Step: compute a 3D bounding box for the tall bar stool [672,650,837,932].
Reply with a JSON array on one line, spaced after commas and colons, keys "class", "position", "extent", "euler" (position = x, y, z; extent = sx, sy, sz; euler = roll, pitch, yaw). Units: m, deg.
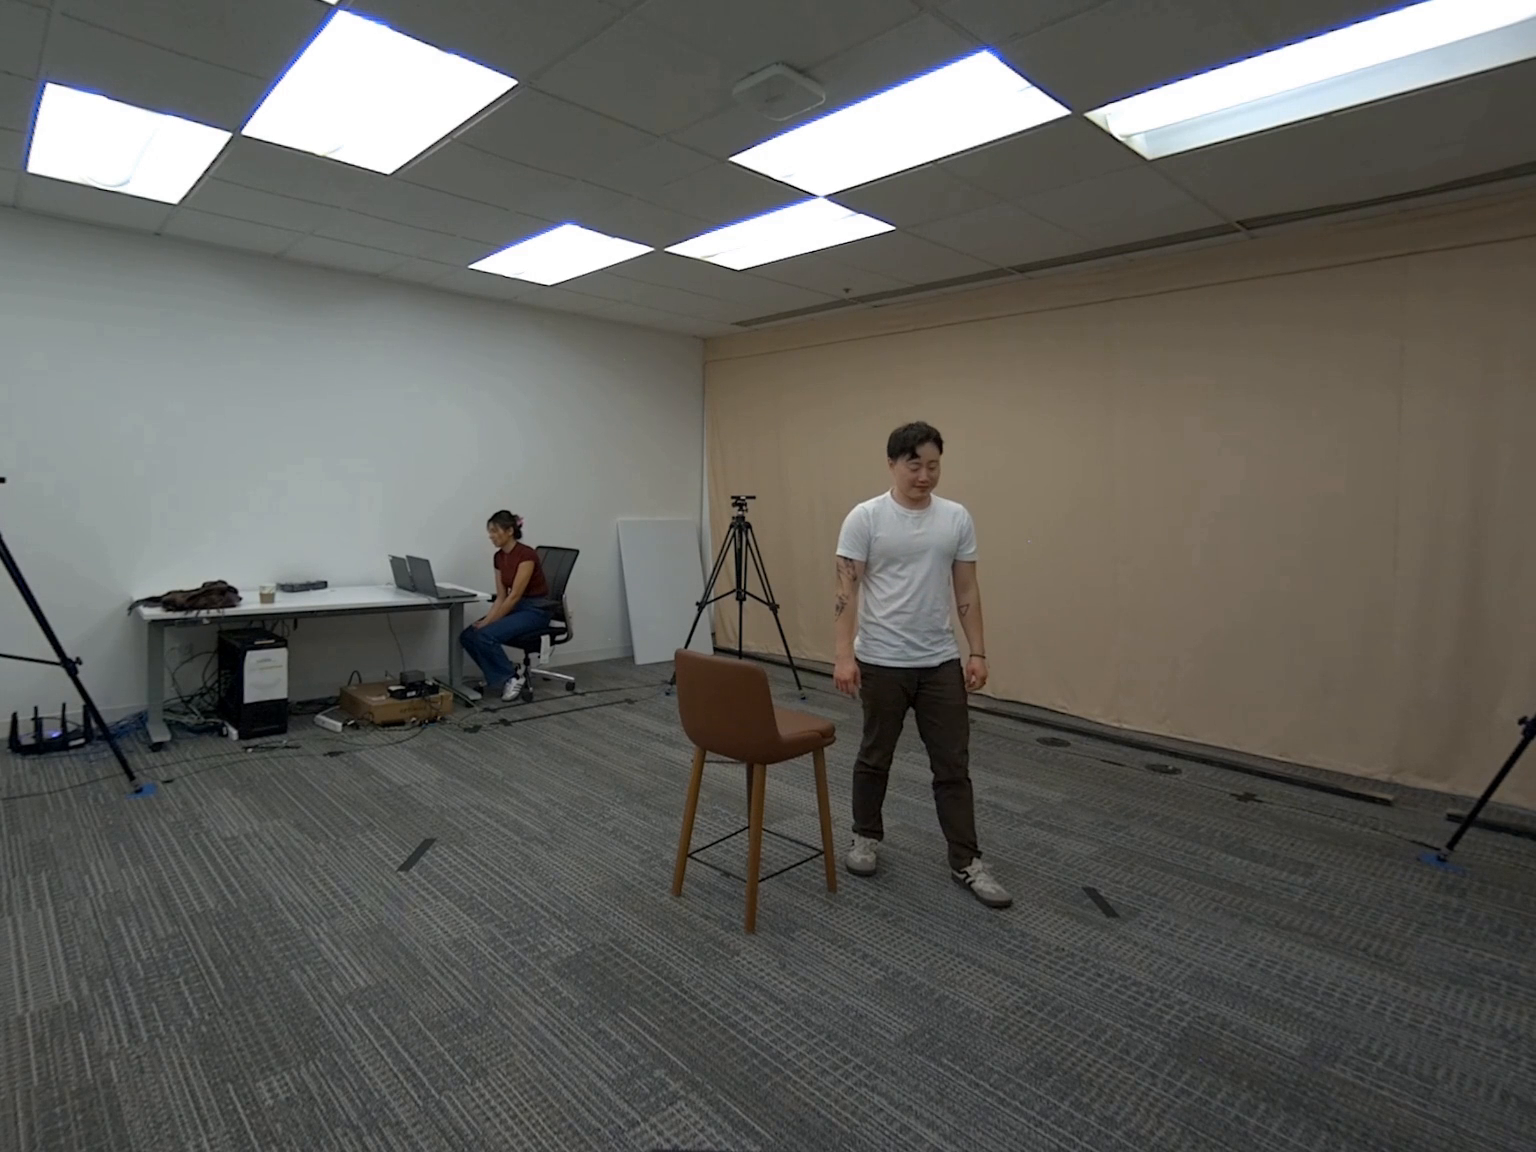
[{"class": "tall bar stool", "position": [-0.055, 0.683, 2.939], "extent": [0.468, 0.886, 0.457], "euler": [4, 6, 42]}]
